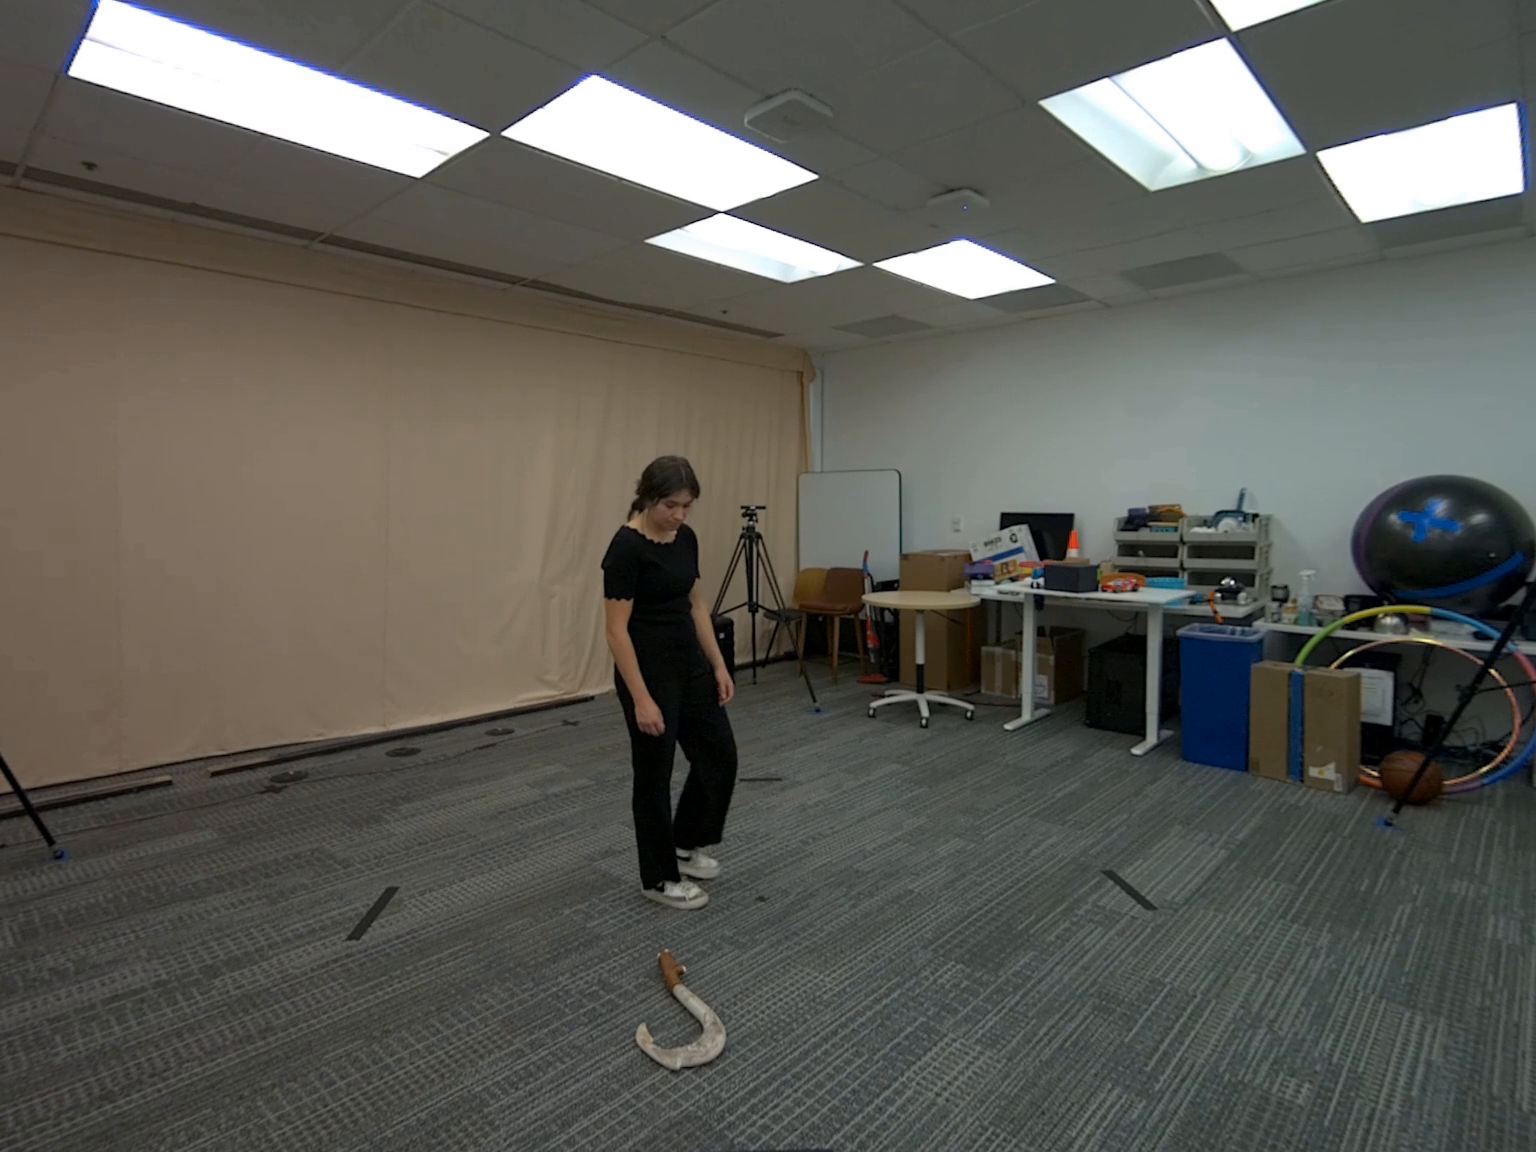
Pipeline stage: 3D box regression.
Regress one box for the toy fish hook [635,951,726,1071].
[{"bbox_3d":[-0.275,1.177,2.314,0.220,0.048,0.518,-1,5,-21],"label":"toy fish hook"}]
